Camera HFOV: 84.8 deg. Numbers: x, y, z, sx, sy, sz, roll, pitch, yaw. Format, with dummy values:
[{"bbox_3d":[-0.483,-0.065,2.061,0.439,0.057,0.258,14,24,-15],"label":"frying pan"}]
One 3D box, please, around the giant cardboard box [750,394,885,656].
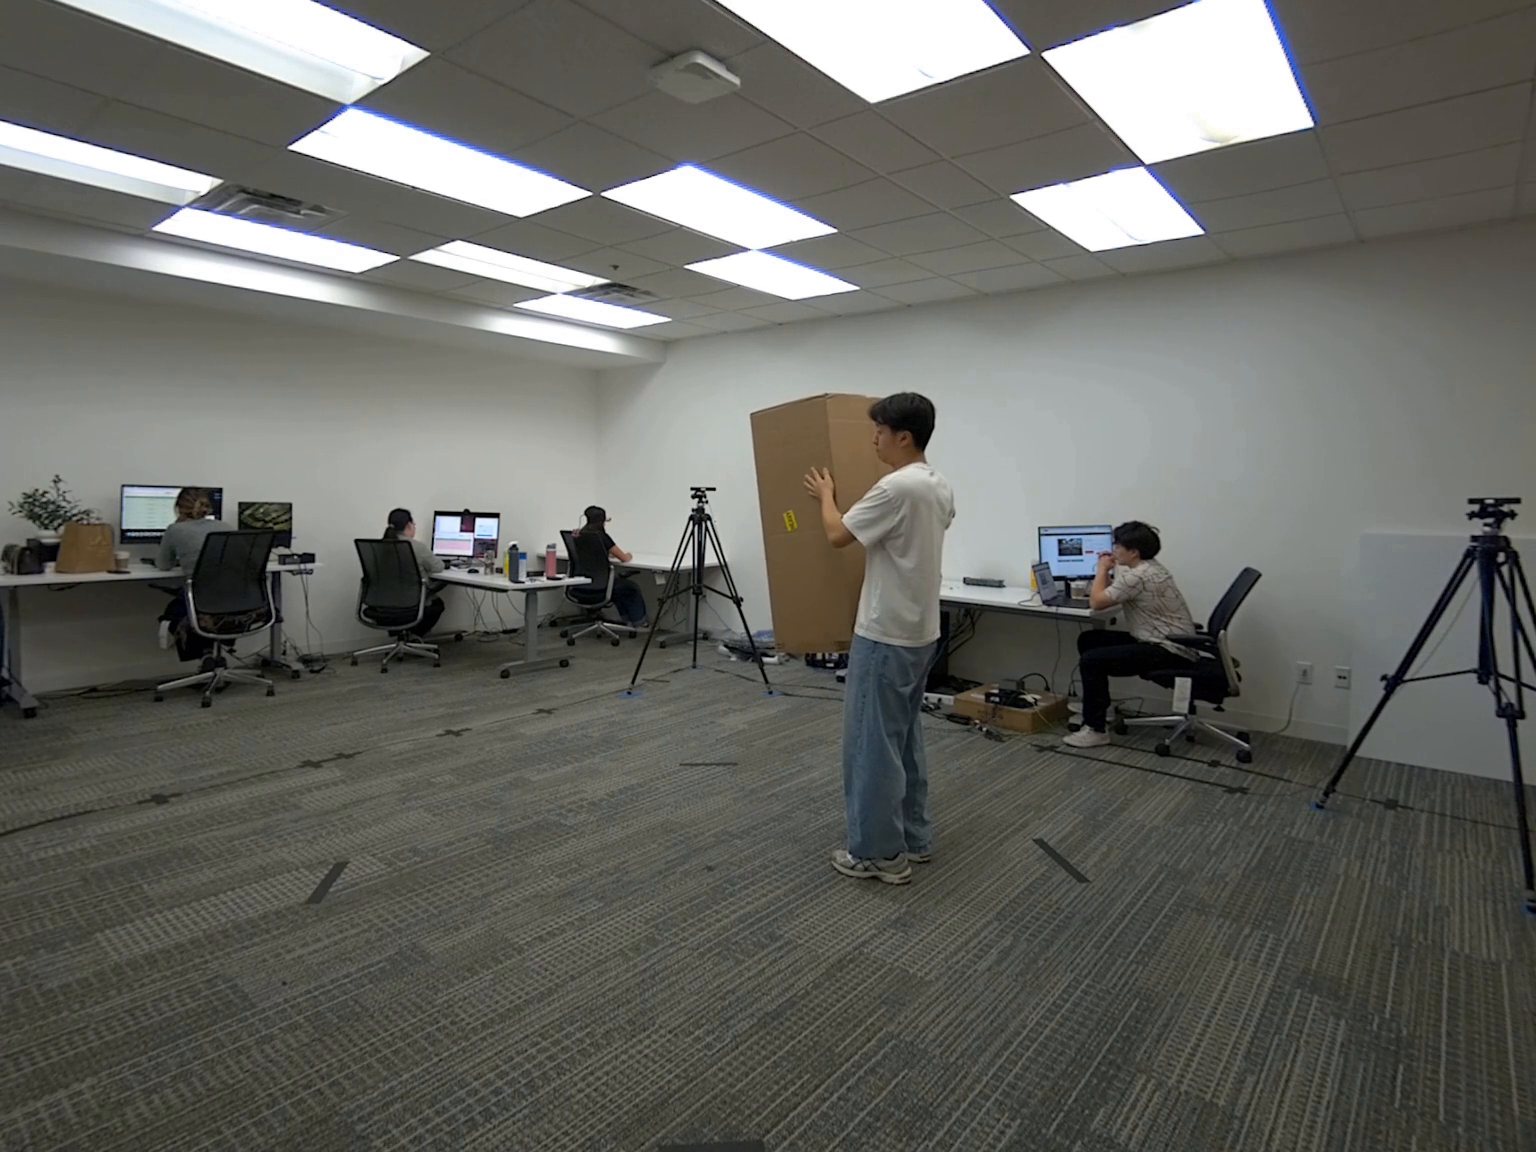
[{"bbox_3d":[0.304,-0.224,3.647,0.438,1.027,0.561,-7,-1,44],"label":"giant cardboard box"}]
